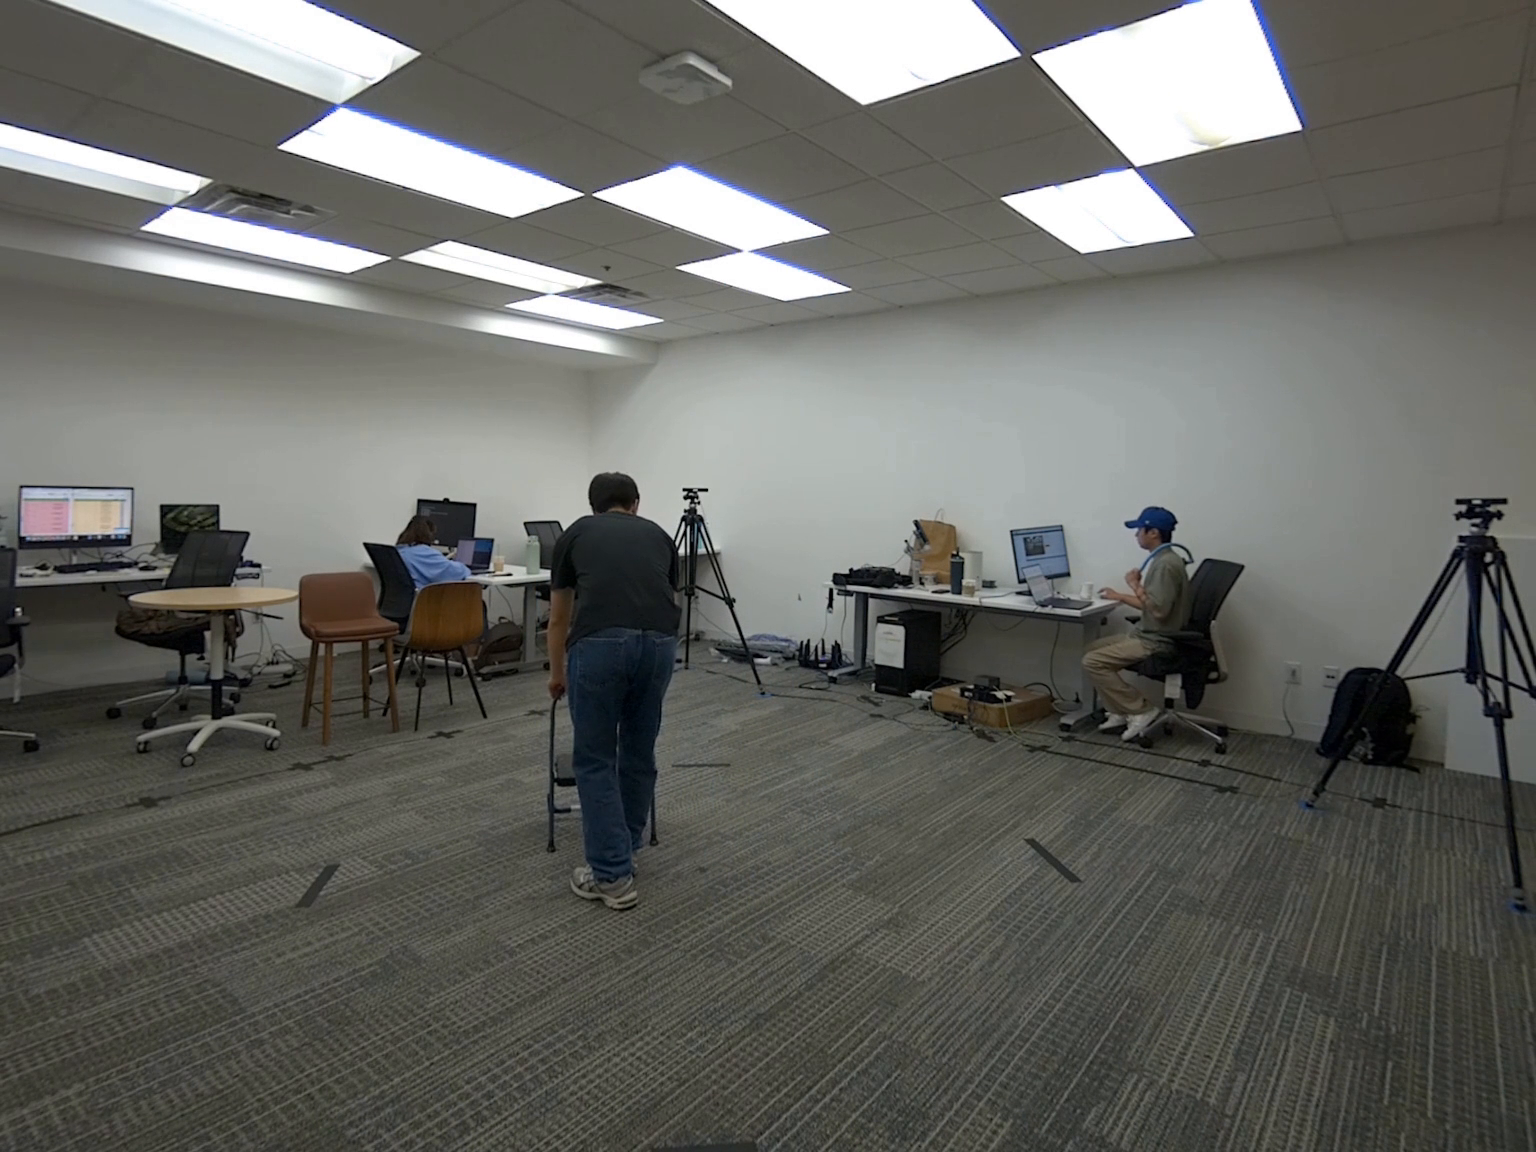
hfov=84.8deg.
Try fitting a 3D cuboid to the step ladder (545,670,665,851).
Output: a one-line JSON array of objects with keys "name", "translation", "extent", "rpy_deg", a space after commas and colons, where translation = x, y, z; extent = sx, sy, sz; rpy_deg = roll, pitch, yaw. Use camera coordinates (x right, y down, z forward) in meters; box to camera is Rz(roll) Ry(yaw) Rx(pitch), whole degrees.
[{"name": "step ladder", "translation": [-0.672, 0.720, 3.399], "extent": [0.424, 0.602, 0.357], "rpy_deg": [1, 8, -15]}]
